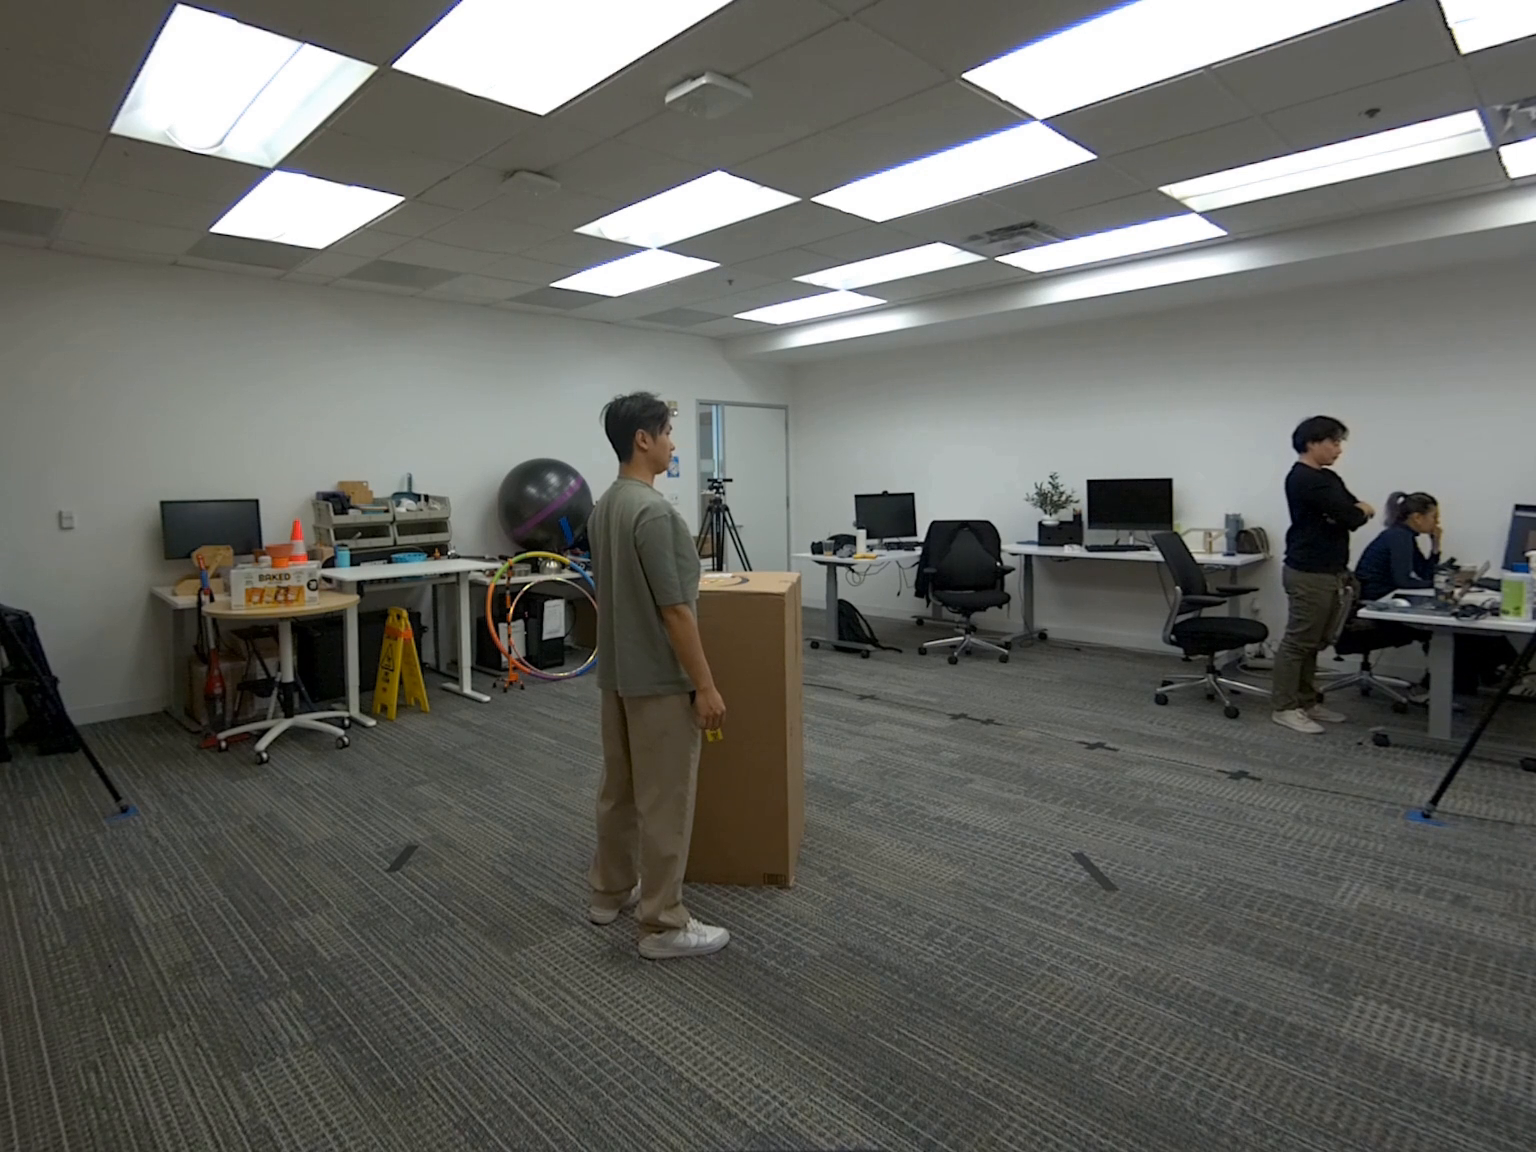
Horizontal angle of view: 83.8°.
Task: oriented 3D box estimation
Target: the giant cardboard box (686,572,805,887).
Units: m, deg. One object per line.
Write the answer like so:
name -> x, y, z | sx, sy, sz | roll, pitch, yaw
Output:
giant cardboard box -> -0.107, 0.526, 3.196 | 0.430, 1.022, 0.575 | 0, 4, 8
